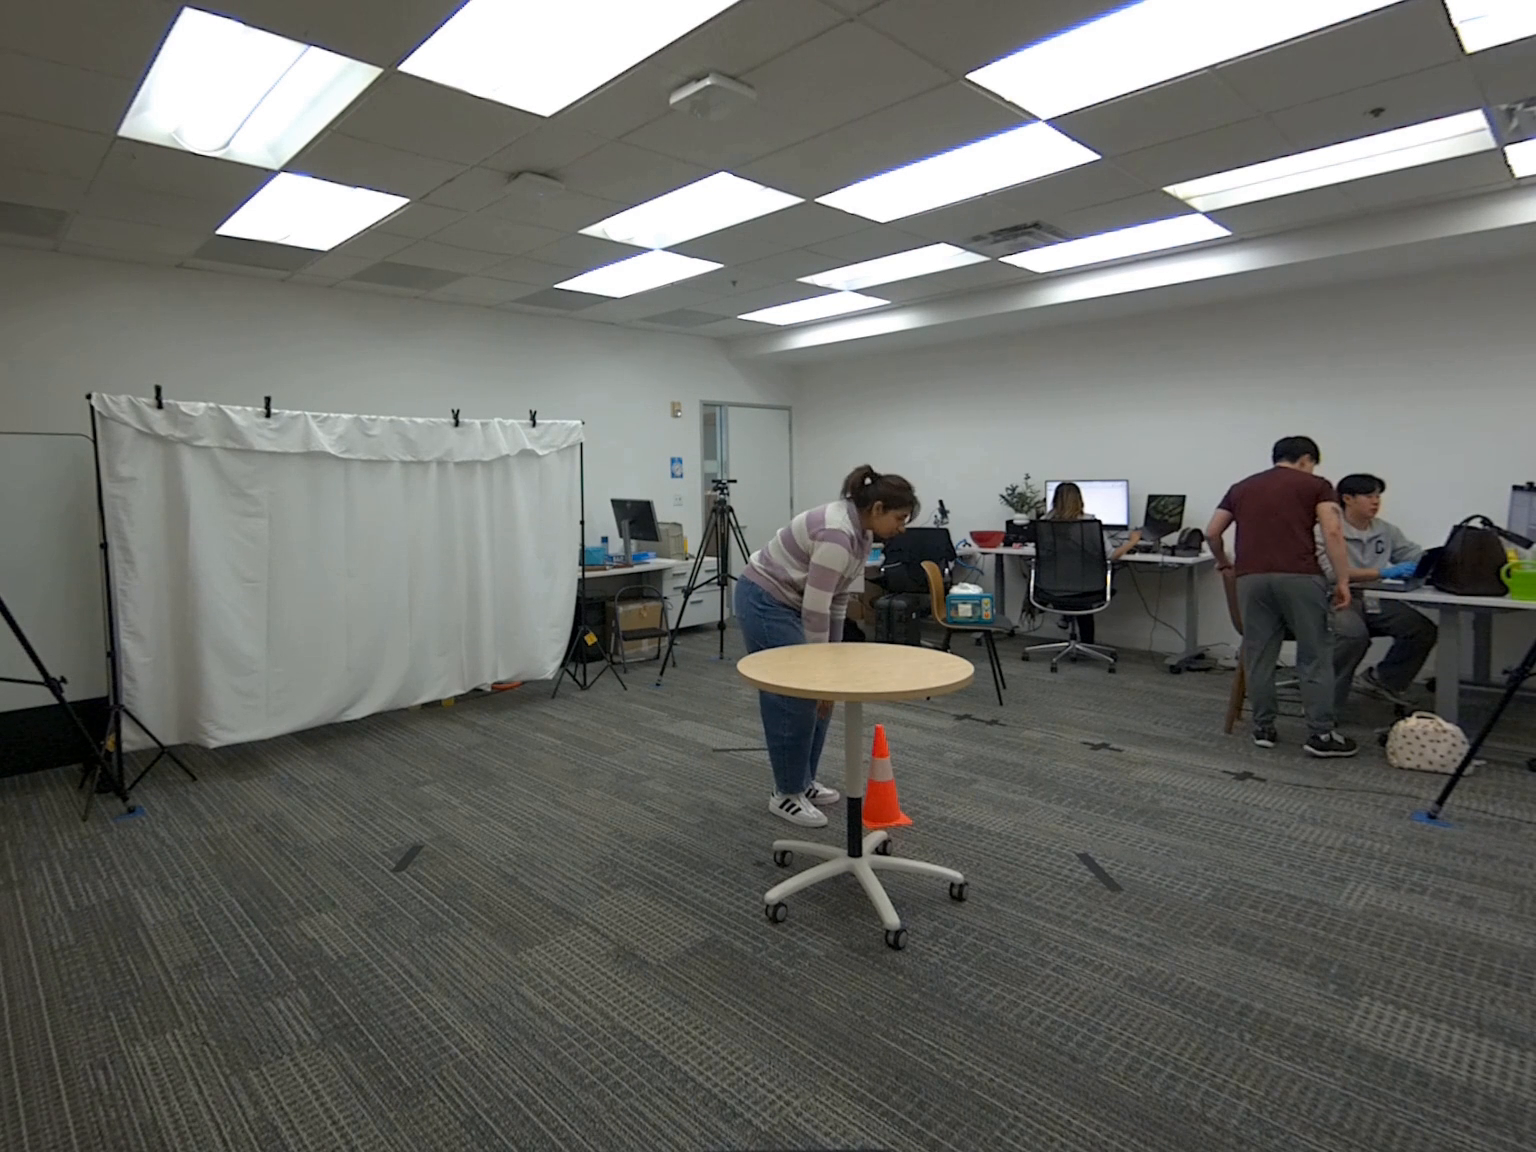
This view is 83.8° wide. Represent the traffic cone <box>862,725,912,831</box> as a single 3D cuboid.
[{"bbox_3d":[0.453,0.807,3.511,0.202,0.382,0.207,-3,5,-18],"label":"traffic cone"}]
